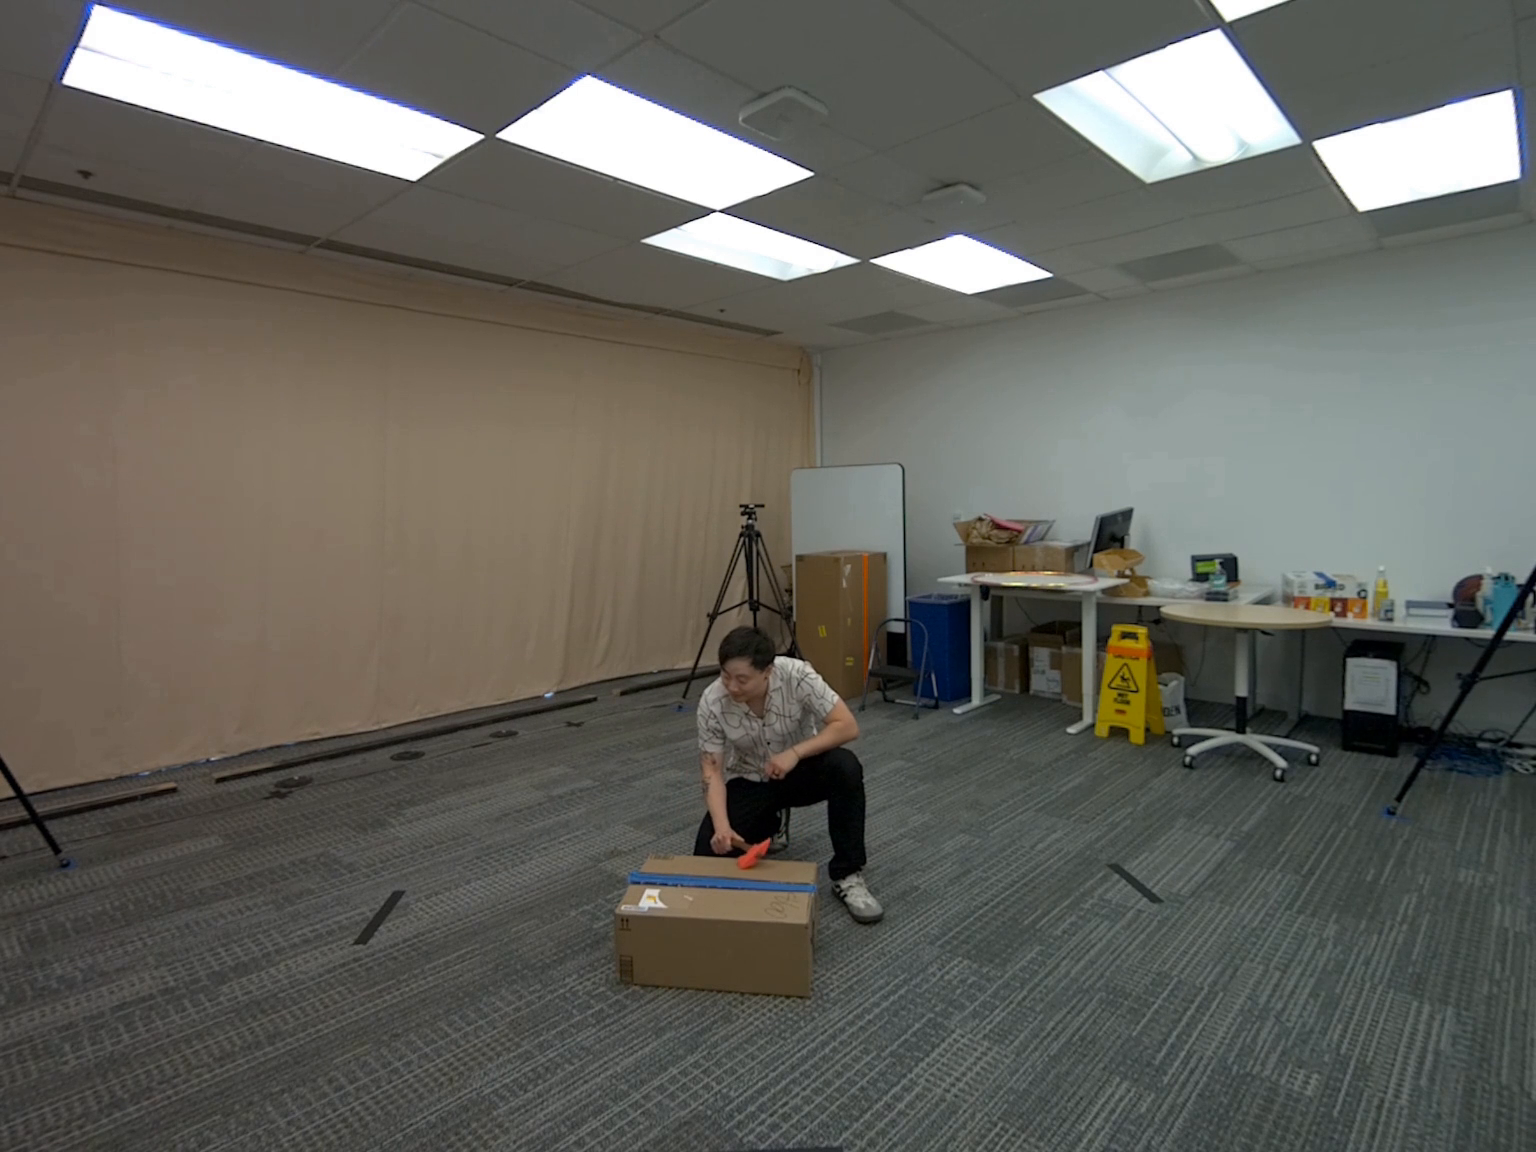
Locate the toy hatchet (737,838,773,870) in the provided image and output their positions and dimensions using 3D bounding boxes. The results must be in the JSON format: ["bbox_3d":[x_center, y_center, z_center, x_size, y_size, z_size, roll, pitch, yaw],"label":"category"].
[{"bbox_3d":[-0.106,0.928,2.817,0.275,0.029,0.130,-25,16,49],"label":"toy hatchet"}]
